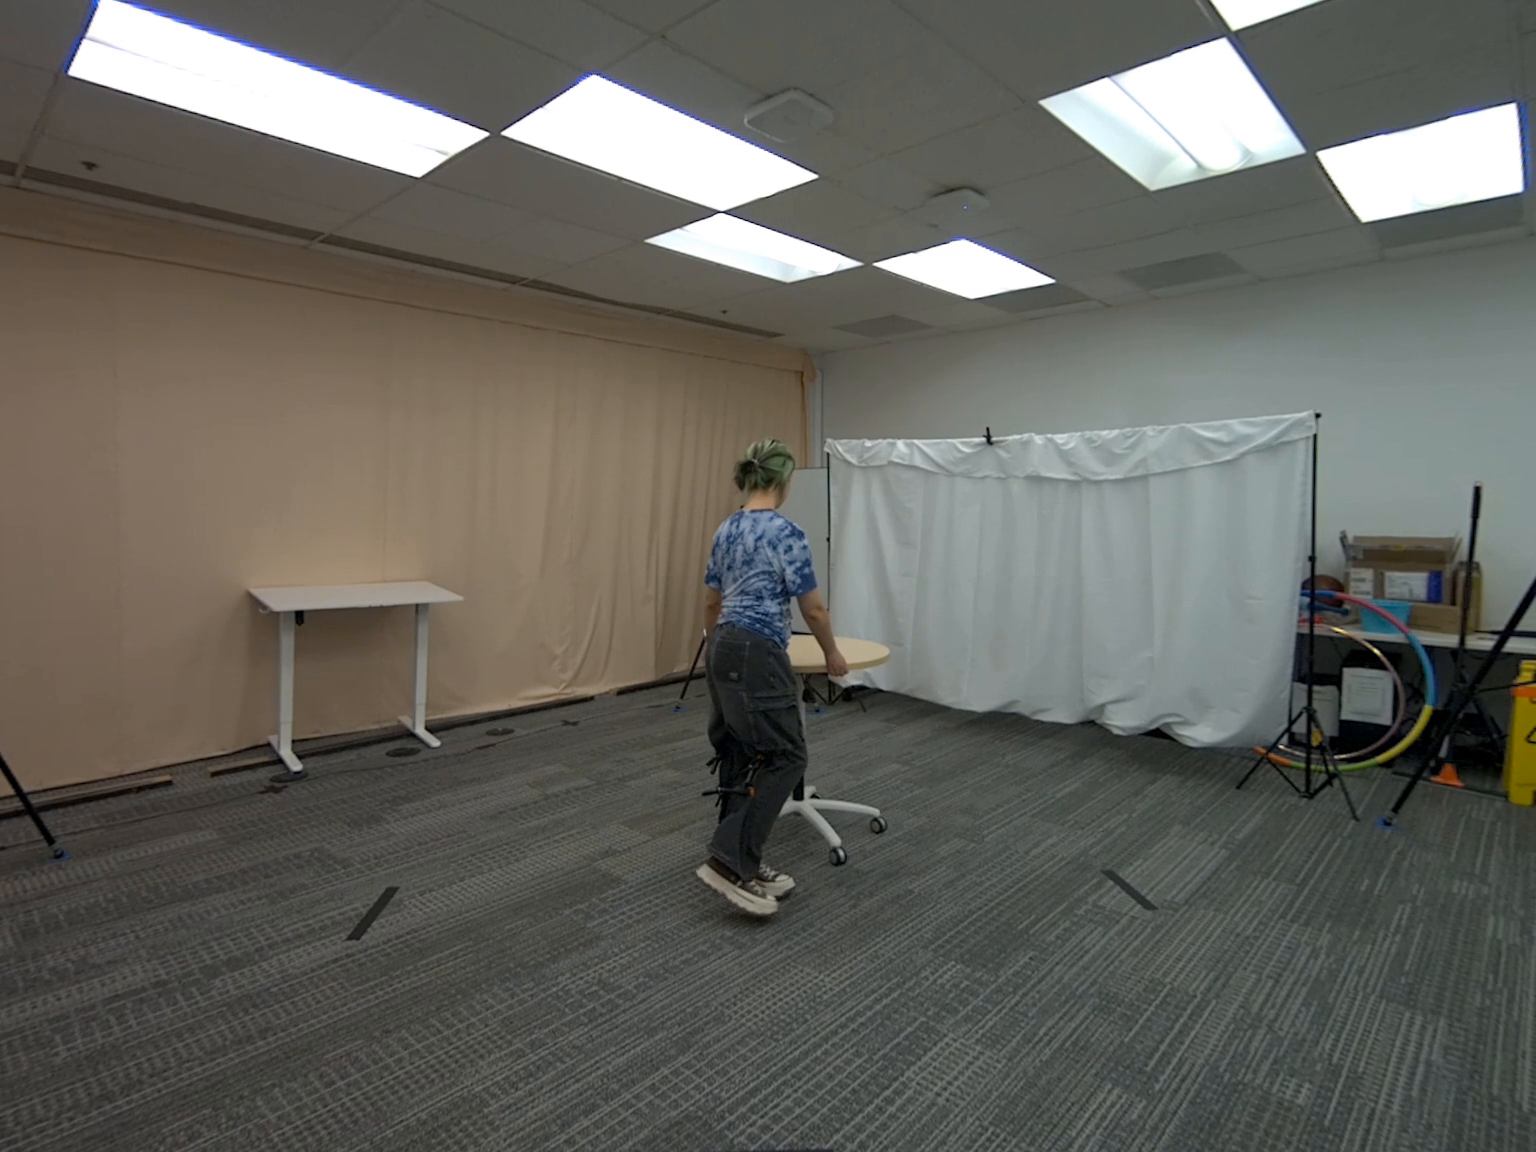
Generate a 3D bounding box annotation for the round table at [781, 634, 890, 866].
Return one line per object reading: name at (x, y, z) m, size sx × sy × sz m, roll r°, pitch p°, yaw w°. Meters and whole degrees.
round table at (0.133, 0.702, 3.571) m, size 0.763 × 0.792 × 0.766 m, roll 0°, pitch 3°, yaw -2°
